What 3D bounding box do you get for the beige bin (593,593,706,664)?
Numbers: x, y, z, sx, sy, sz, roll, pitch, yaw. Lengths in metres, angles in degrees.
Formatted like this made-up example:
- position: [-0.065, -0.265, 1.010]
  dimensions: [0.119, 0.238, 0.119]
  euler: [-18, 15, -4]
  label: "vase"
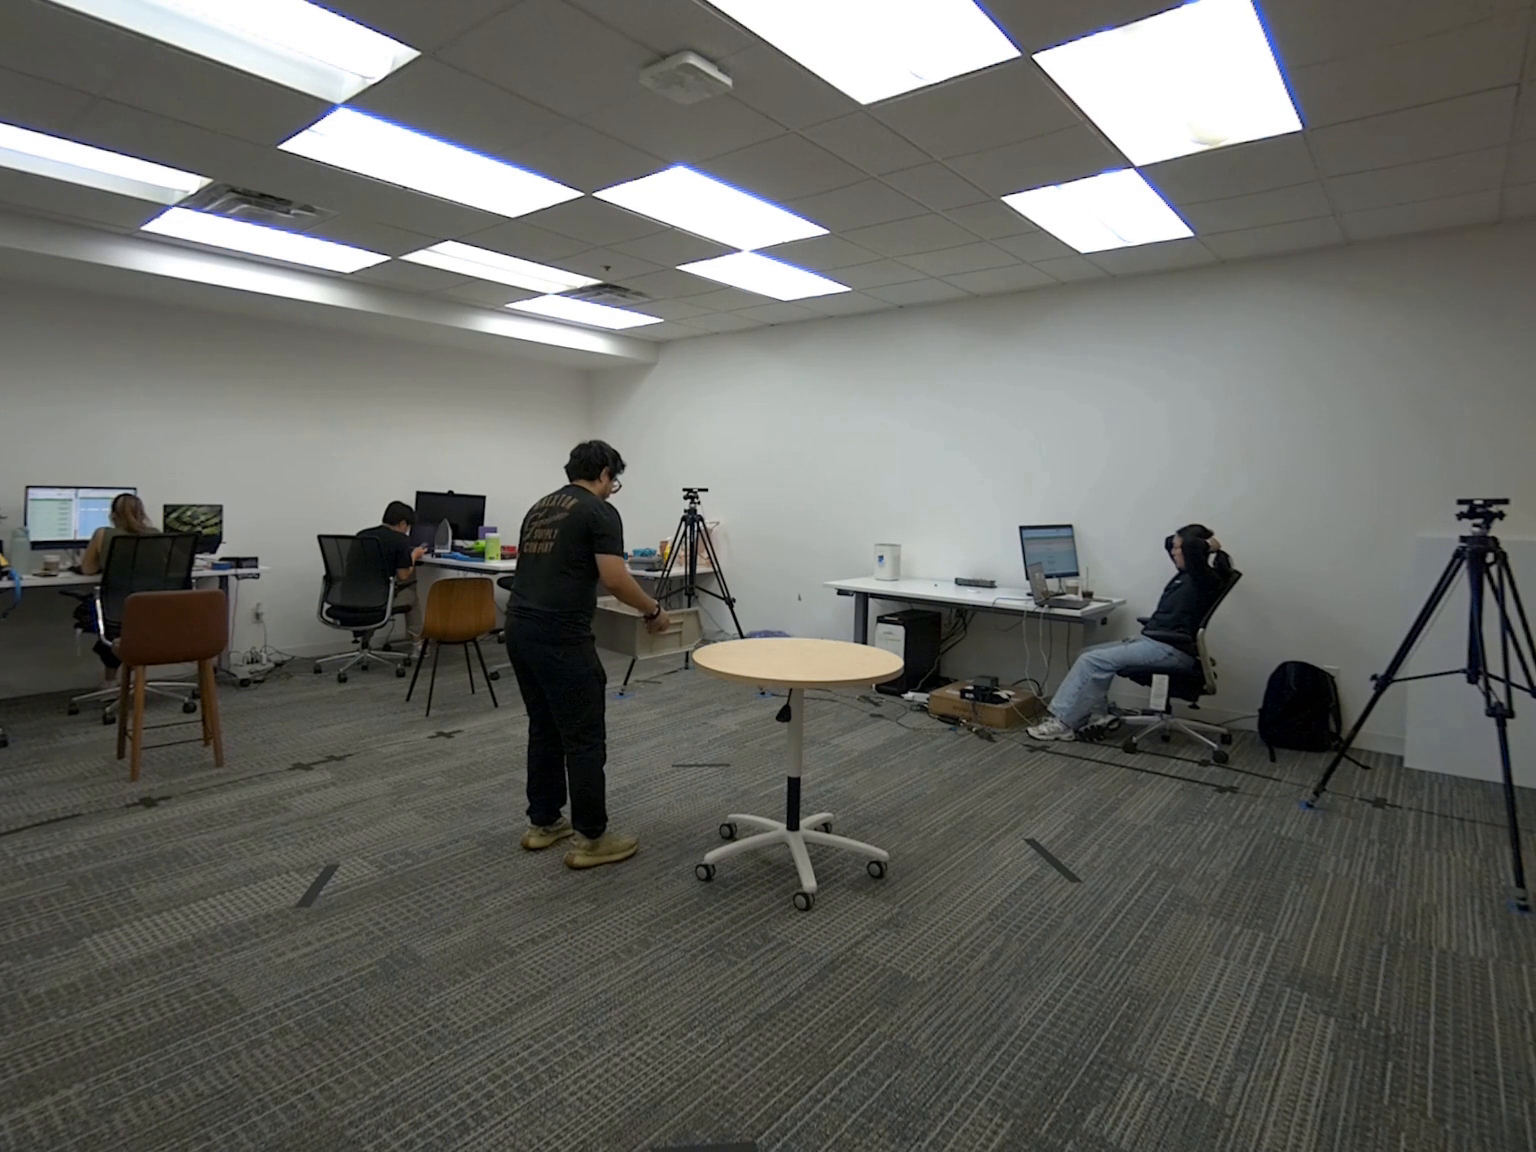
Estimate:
- position: [-0.553, 0.204, 3.569]
  dimensions: [0.437, 0.188, 0.366]
  euler: [8, 10, 41]
  label: "beige bin"
